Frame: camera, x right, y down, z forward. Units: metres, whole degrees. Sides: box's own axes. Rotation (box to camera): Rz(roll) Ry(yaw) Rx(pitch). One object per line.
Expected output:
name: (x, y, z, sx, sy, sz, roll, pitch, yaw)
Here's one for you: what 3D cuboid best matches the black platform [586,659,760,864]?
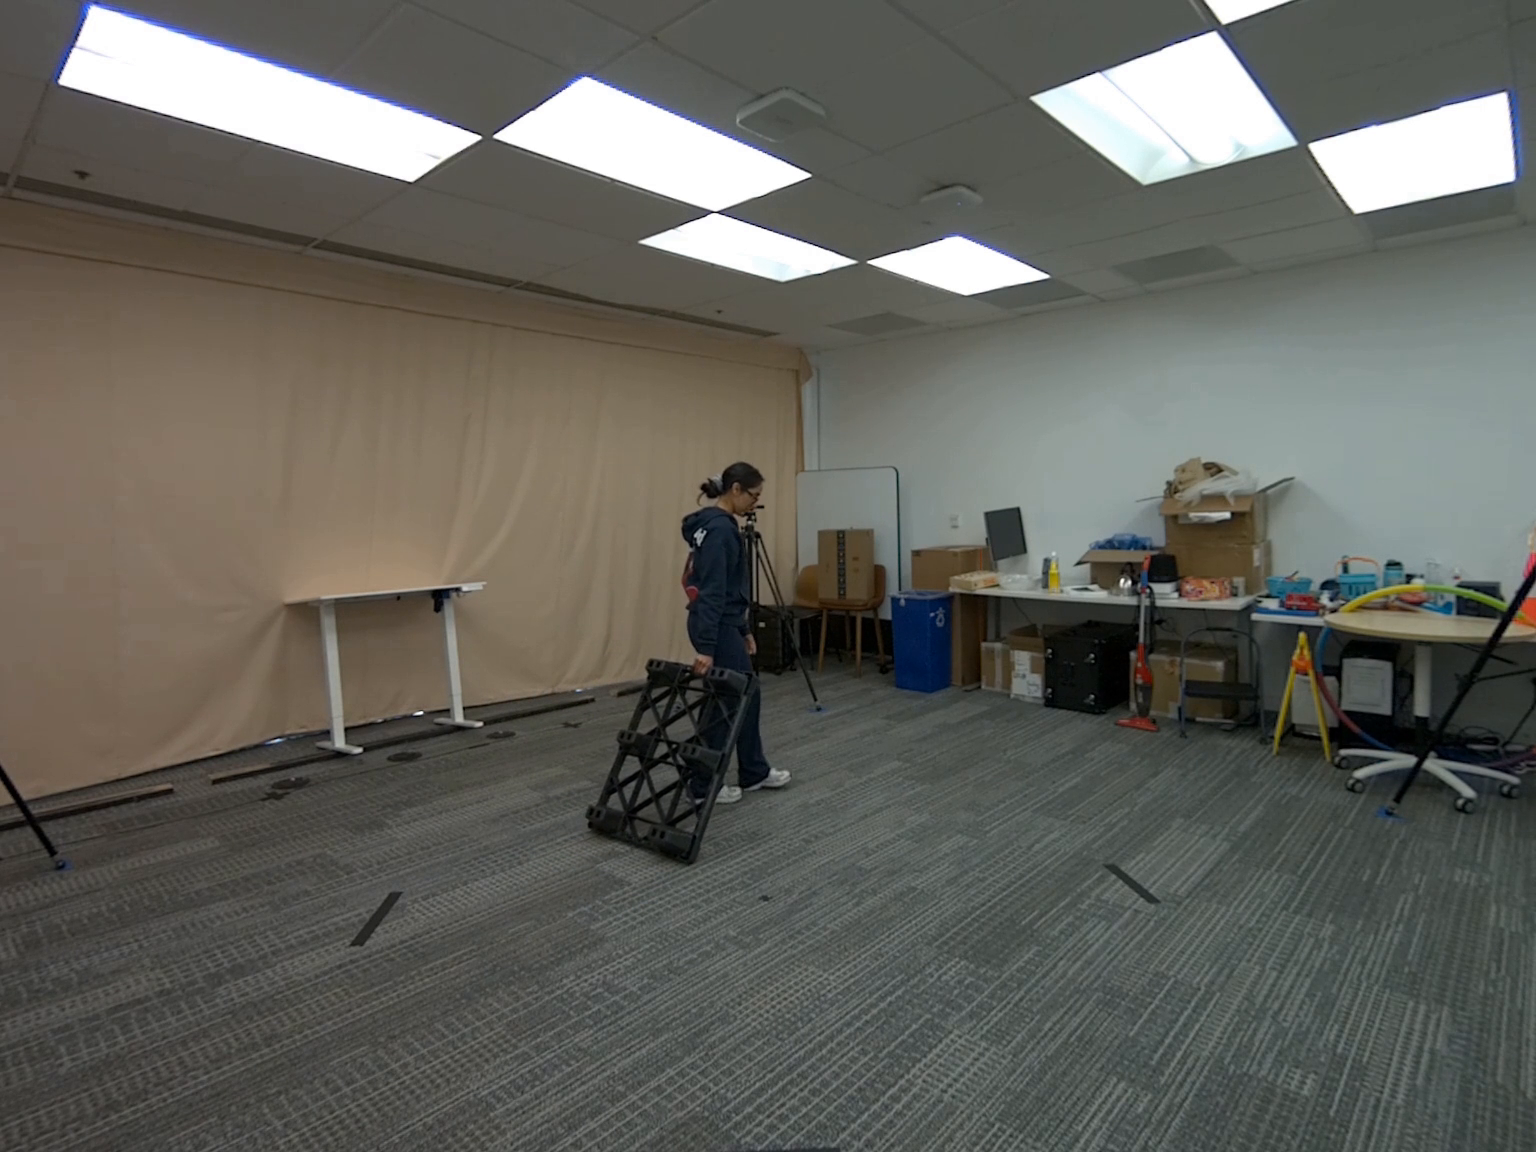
black platform: (-0.420, 0.733, 3.575, 0.624, 0.809, 0.138, 1, -29, 39)
